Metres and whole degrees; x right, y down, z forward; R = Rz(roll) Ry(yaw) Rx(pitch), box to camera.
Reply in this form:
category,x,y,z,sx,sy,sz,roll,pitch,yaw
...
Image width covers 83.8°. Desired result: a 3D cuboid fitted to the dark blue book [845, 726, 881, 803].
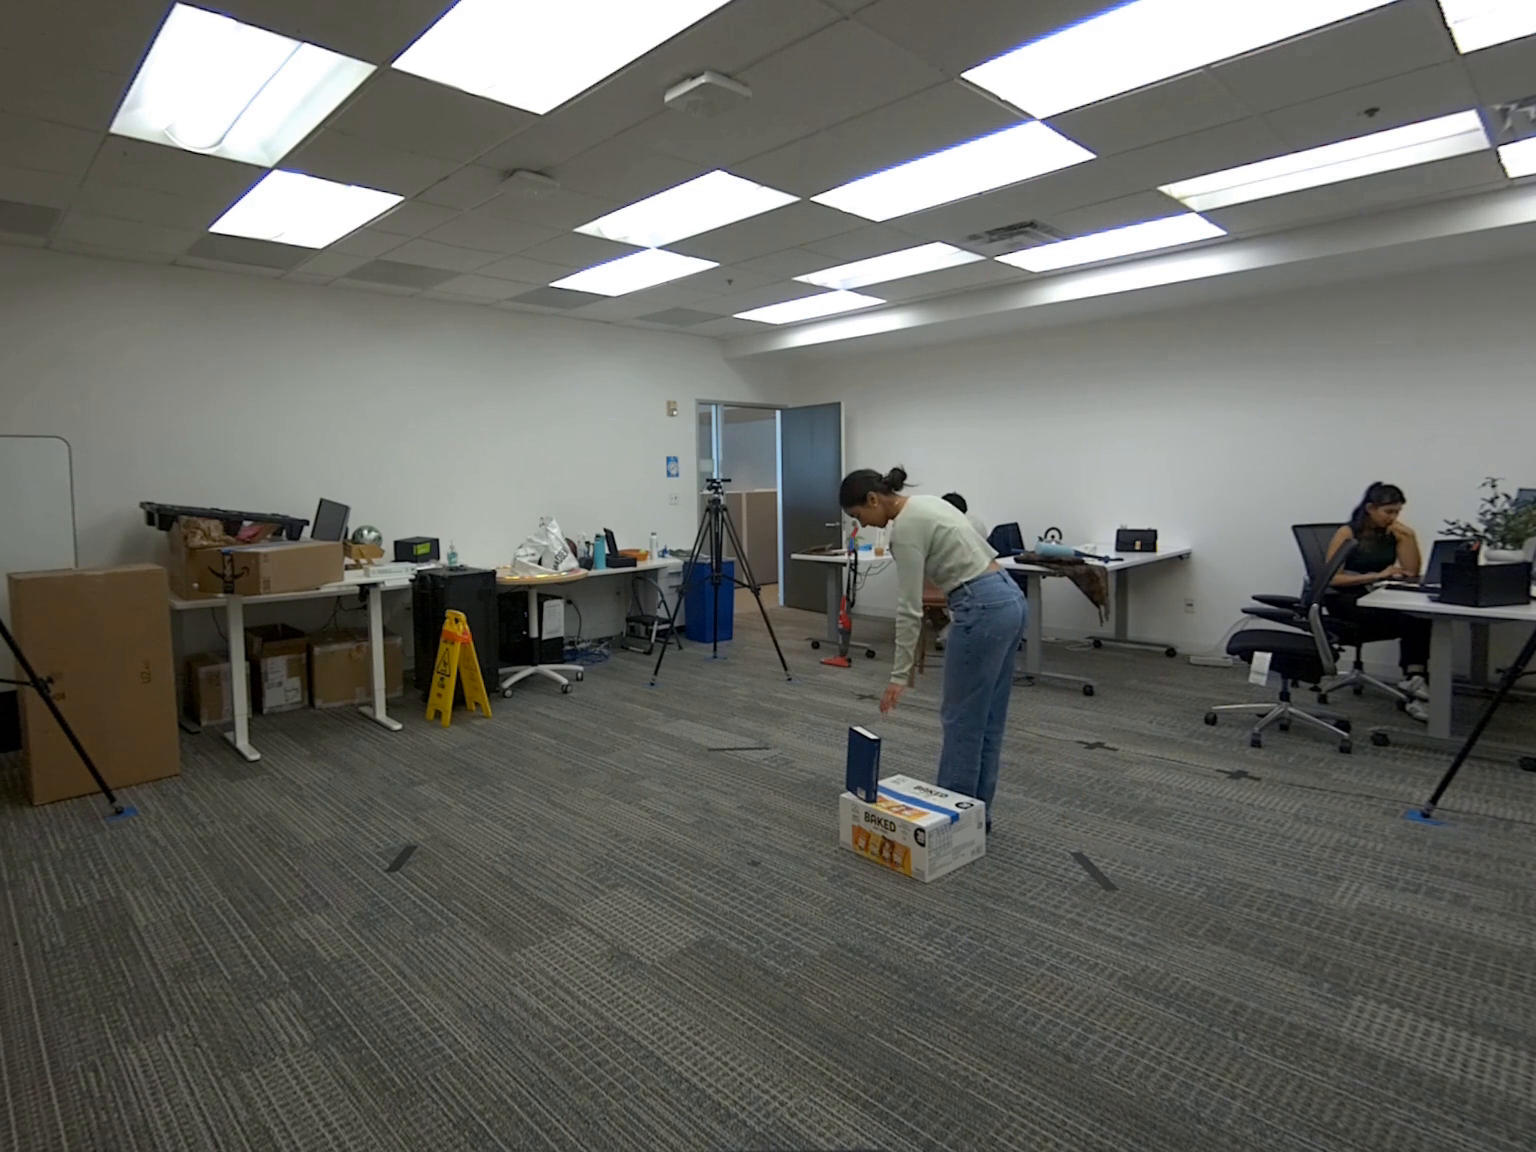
category,x,y,z,sx,sy,sz,roll,pitch,yaw
dark blue book,0.360,0.704,3.201,0.044,0.244,0.167,-1,5,-23
